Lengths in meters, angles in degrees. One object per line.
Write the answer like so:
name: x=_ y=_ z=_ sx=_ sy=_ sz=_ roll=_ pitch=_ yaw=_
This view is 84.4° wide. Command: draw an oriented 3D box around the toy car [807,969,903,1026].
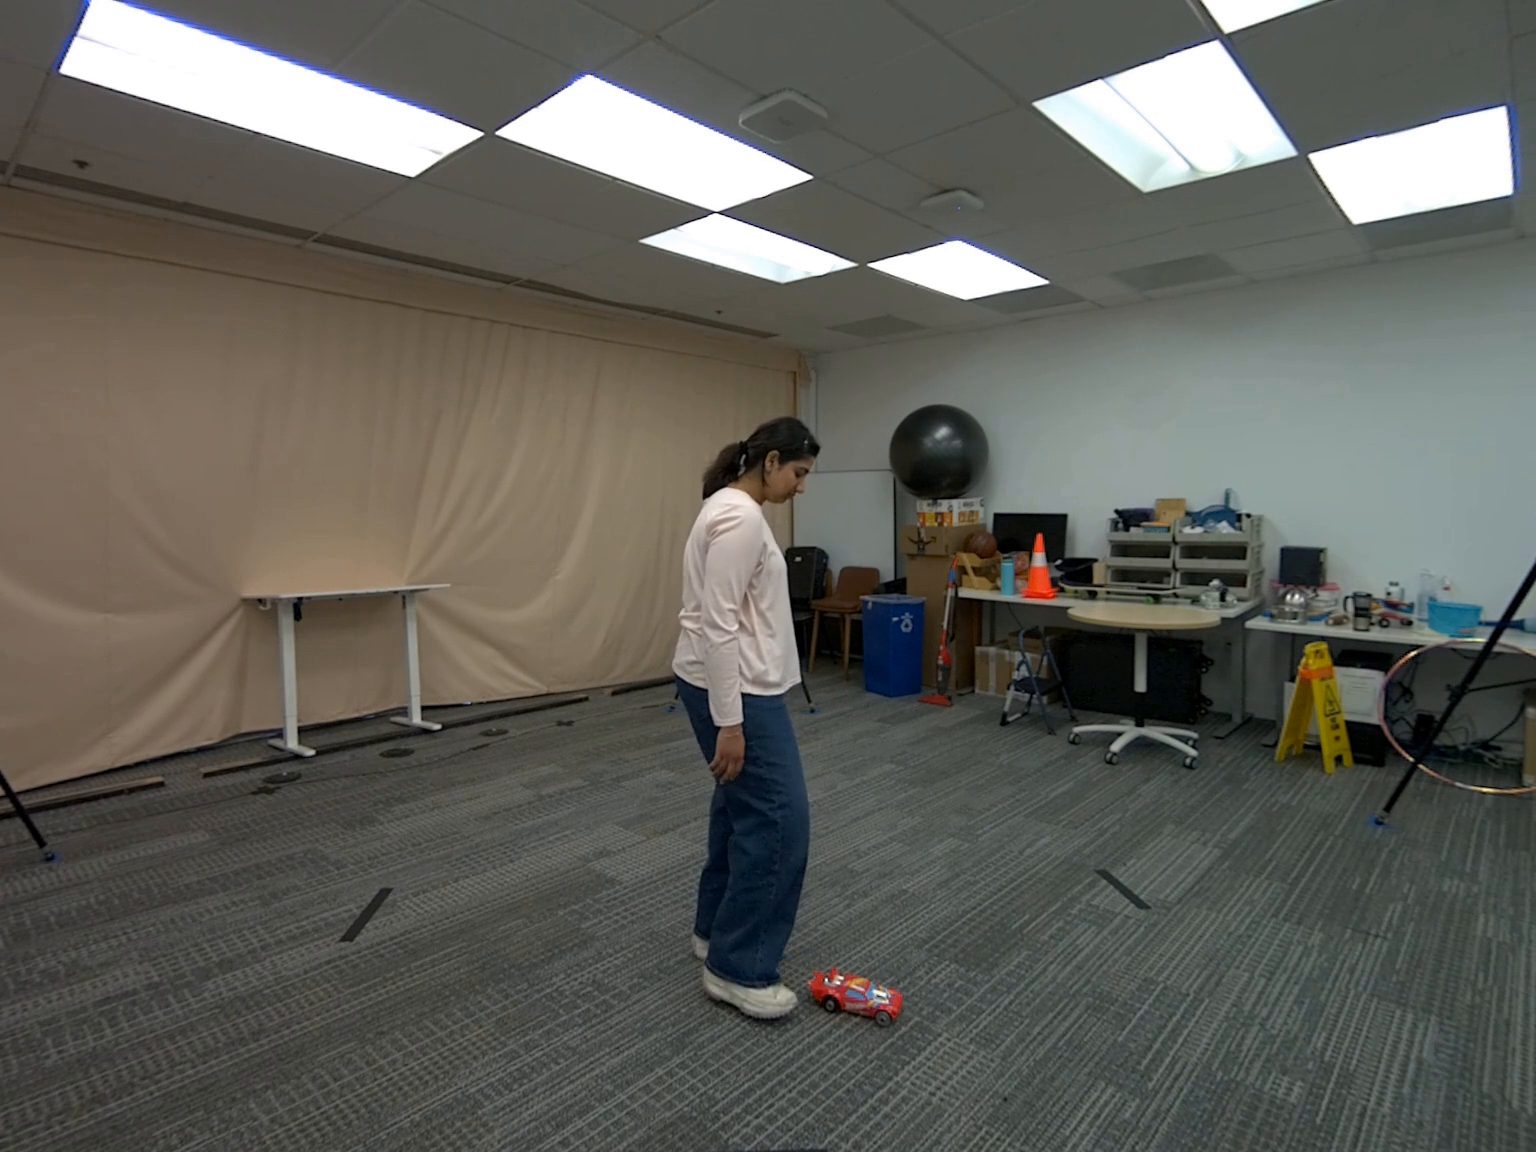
toy car: x=0.246 y=1.172 z=2.323 sx=0.261 sy=0.083 sz=0.127 roll=13 pitch=8 yaw=22
